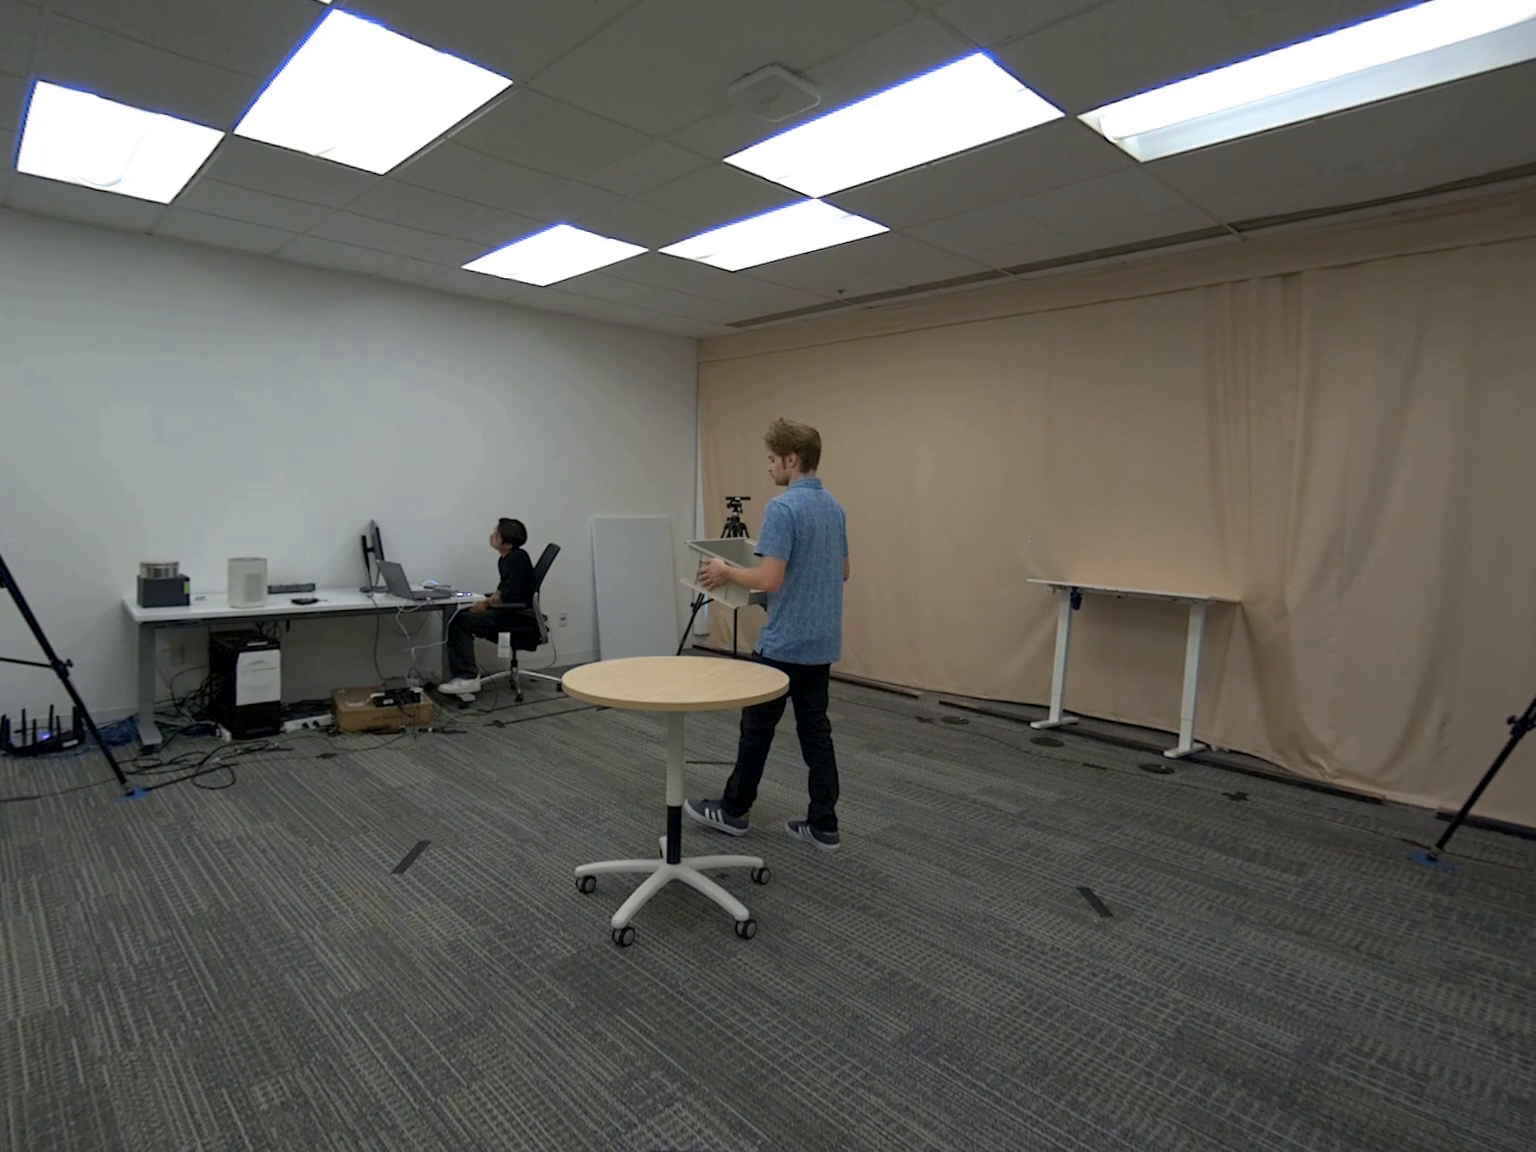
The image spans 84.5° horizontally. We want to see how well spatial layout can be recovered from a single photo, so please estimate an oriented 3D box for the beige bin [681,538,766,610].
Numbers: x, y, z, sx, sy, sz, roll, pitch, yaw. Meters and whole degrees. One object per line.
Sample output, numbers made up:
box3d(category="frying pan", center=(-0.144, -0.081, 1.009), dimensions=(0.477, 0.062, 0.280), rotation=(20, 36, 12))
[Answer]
box3d(category="beige bin", center=(-0.111, -0.011, 3.614), dimensions=(0.388, 0.187, 0.413), rotation=(22, 17, 34))
